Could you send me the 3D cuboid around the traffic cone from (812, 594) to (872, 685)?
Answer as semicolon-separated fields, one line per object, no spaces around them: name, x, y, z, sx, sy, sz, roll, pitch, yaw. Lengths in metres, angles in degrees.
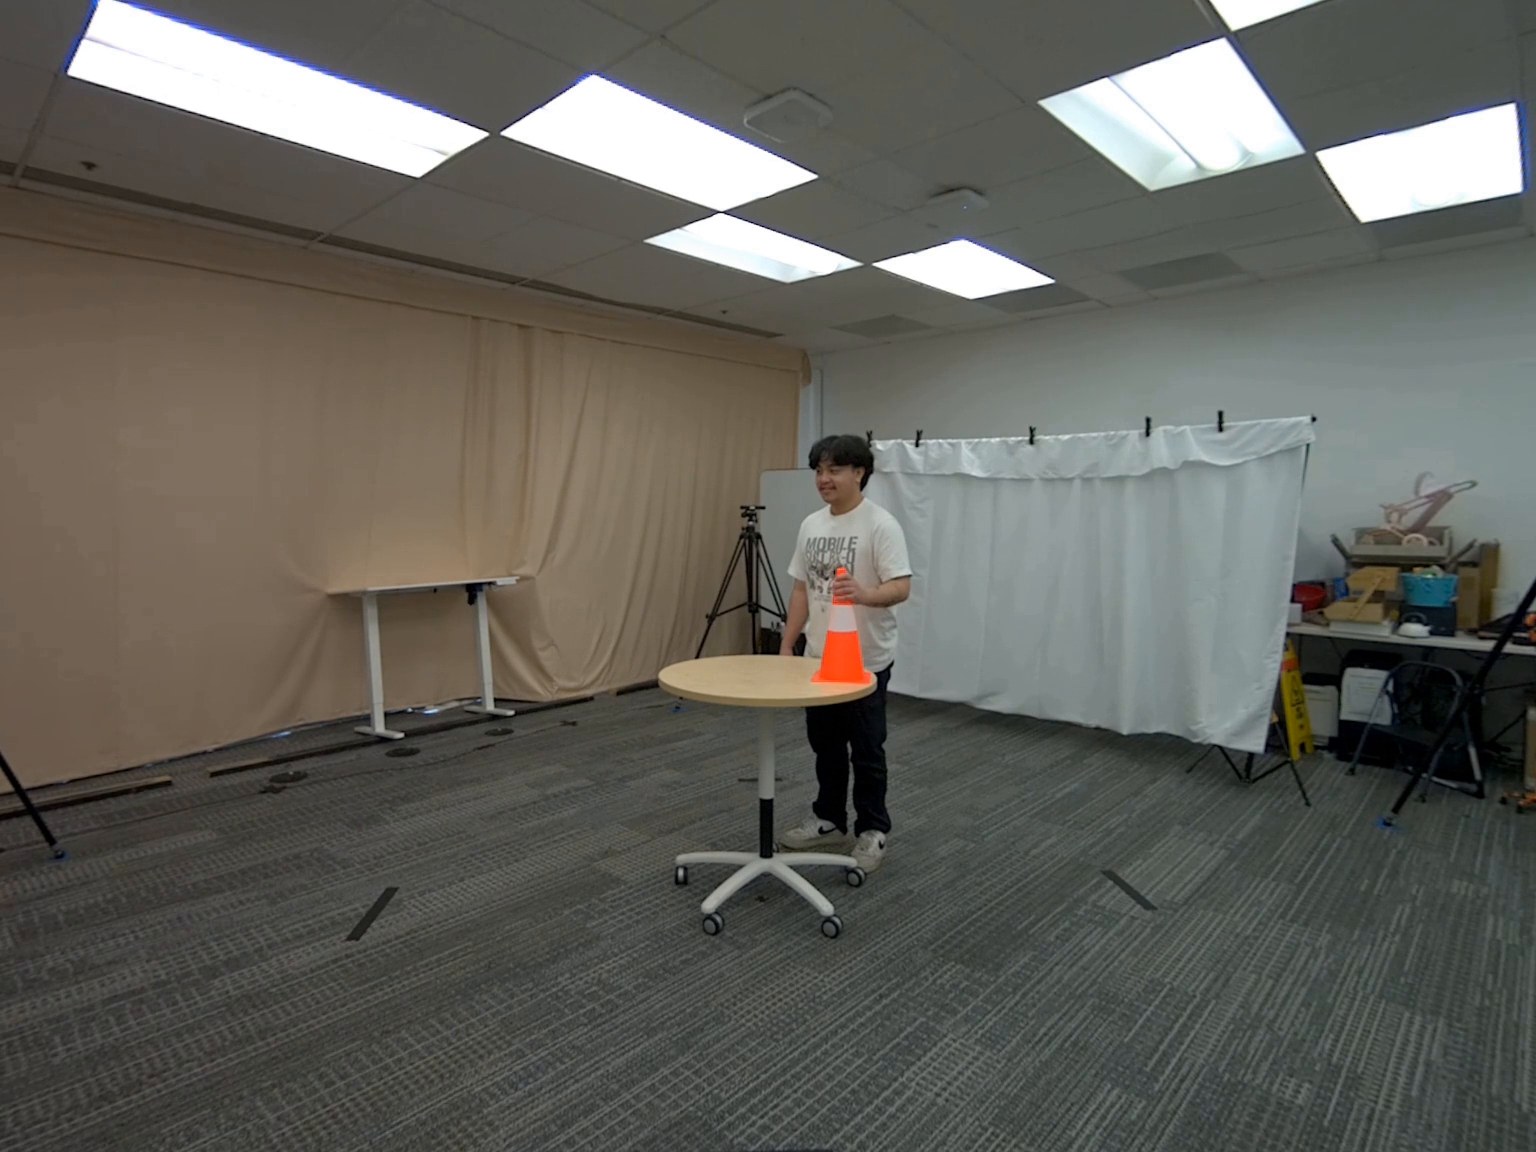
traffic cone;0.252;0.166;2.927;0.208;0.383;0.201;0;3;12
